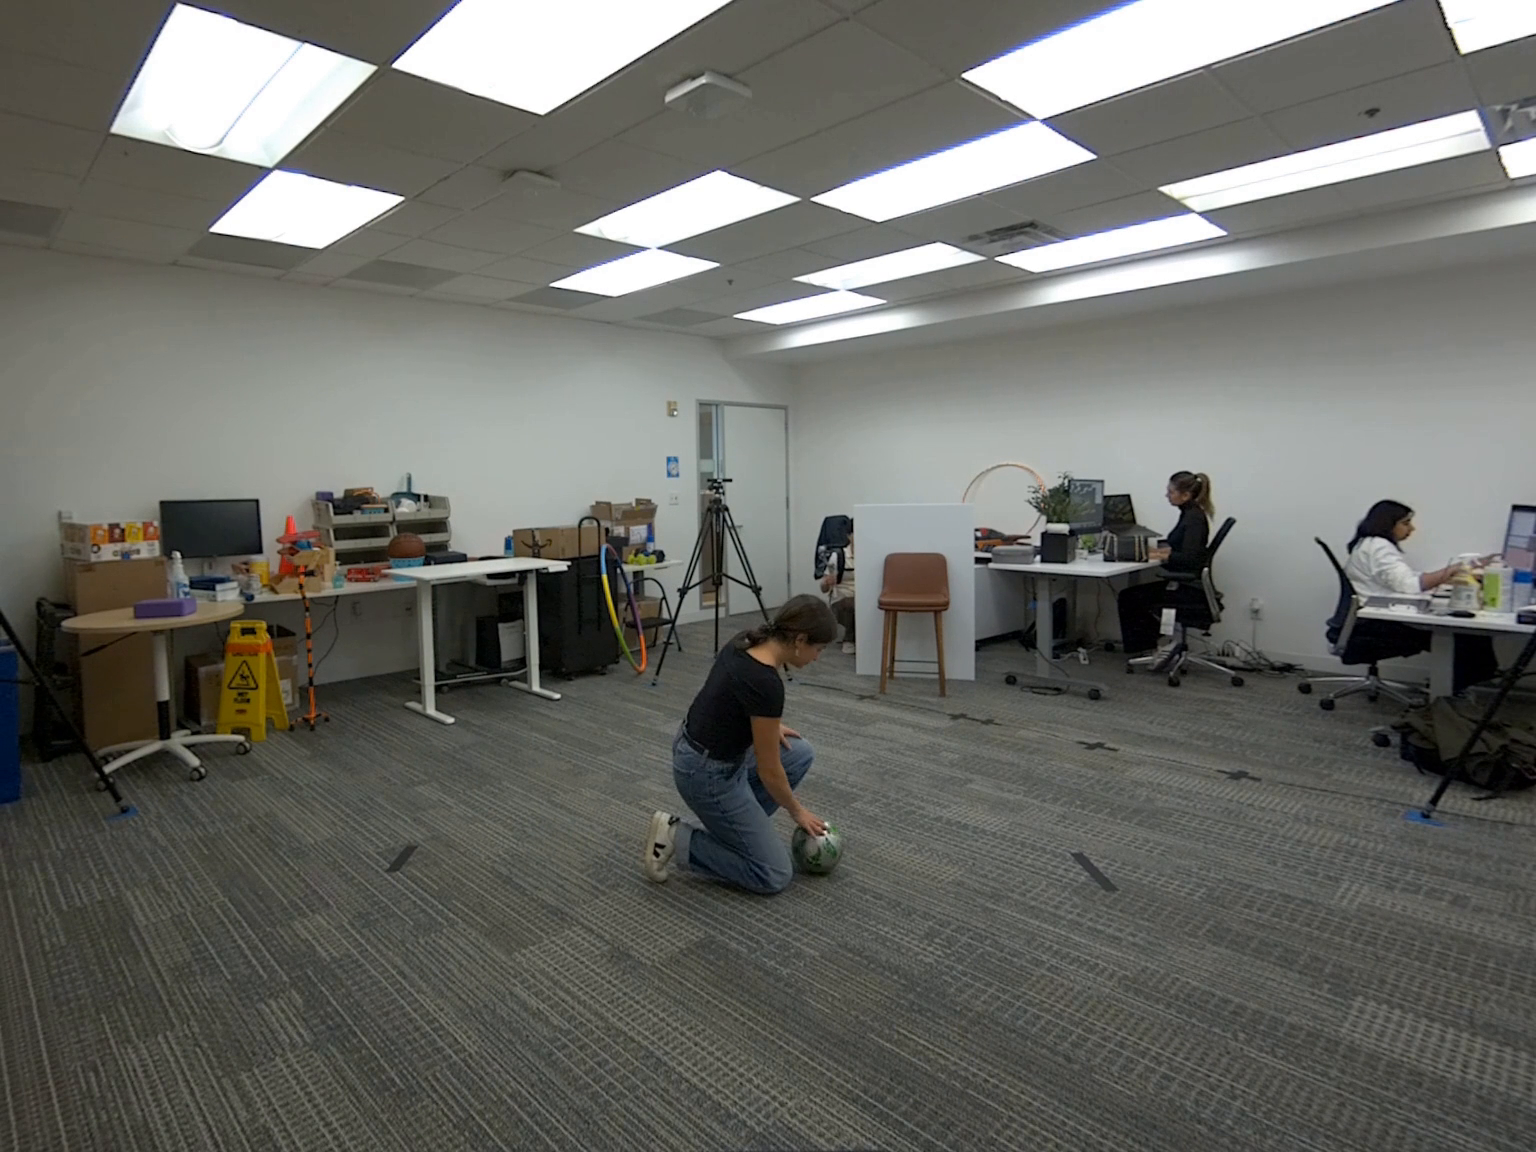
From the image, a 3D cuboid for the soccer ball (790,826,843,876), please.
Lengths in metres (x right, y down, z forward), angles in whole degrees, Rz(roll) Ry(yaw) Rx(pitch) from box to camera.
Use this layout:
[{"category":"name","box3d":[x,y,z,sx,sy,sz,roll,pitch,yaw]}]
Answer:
[{"category":"soccer ball","box3d":[0.182,0.956,3.039,0.187,0.187,0.188,-1,5,-2]}]
